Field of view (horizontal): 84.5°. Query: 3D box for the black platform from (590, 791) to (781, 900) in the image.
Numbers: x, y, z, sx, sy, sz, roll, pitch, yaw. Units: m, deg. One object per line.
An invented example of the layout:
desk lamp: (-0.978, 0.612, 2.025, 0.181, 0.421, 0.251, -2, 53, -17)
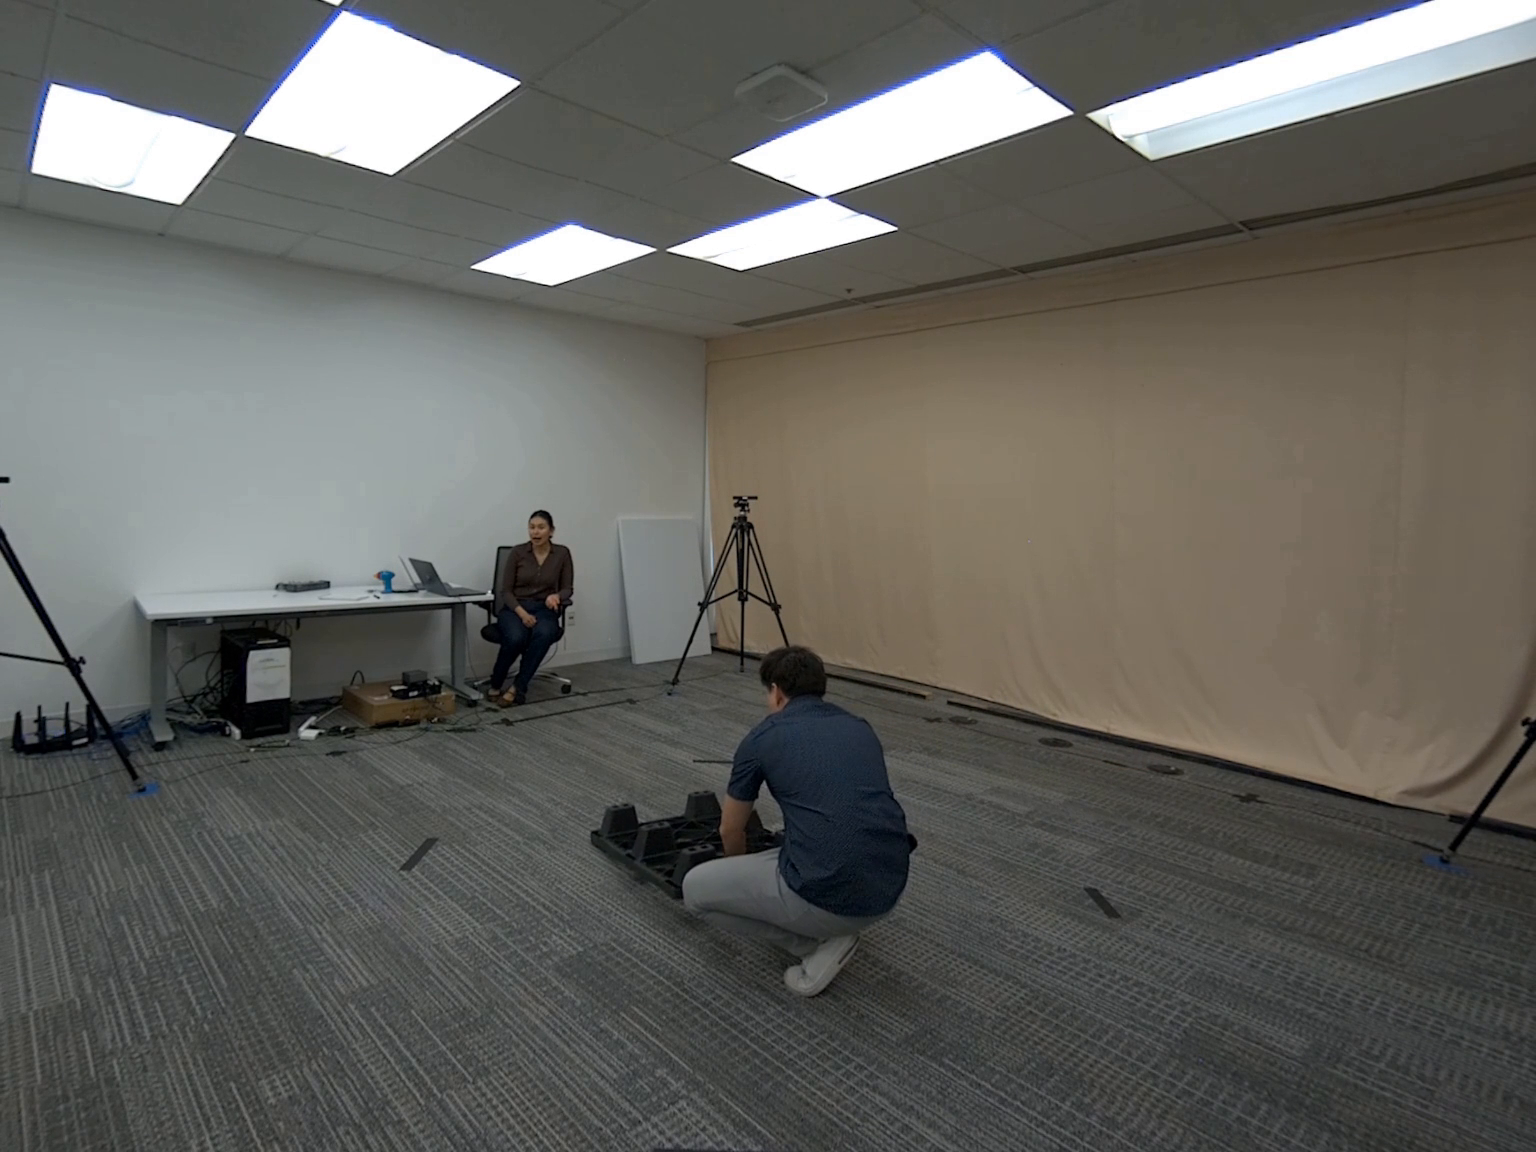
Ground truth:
black platform: (-0.253, 0.984, 3.179, 0.593, 0.143, 0.821, -2, 0, -32)
